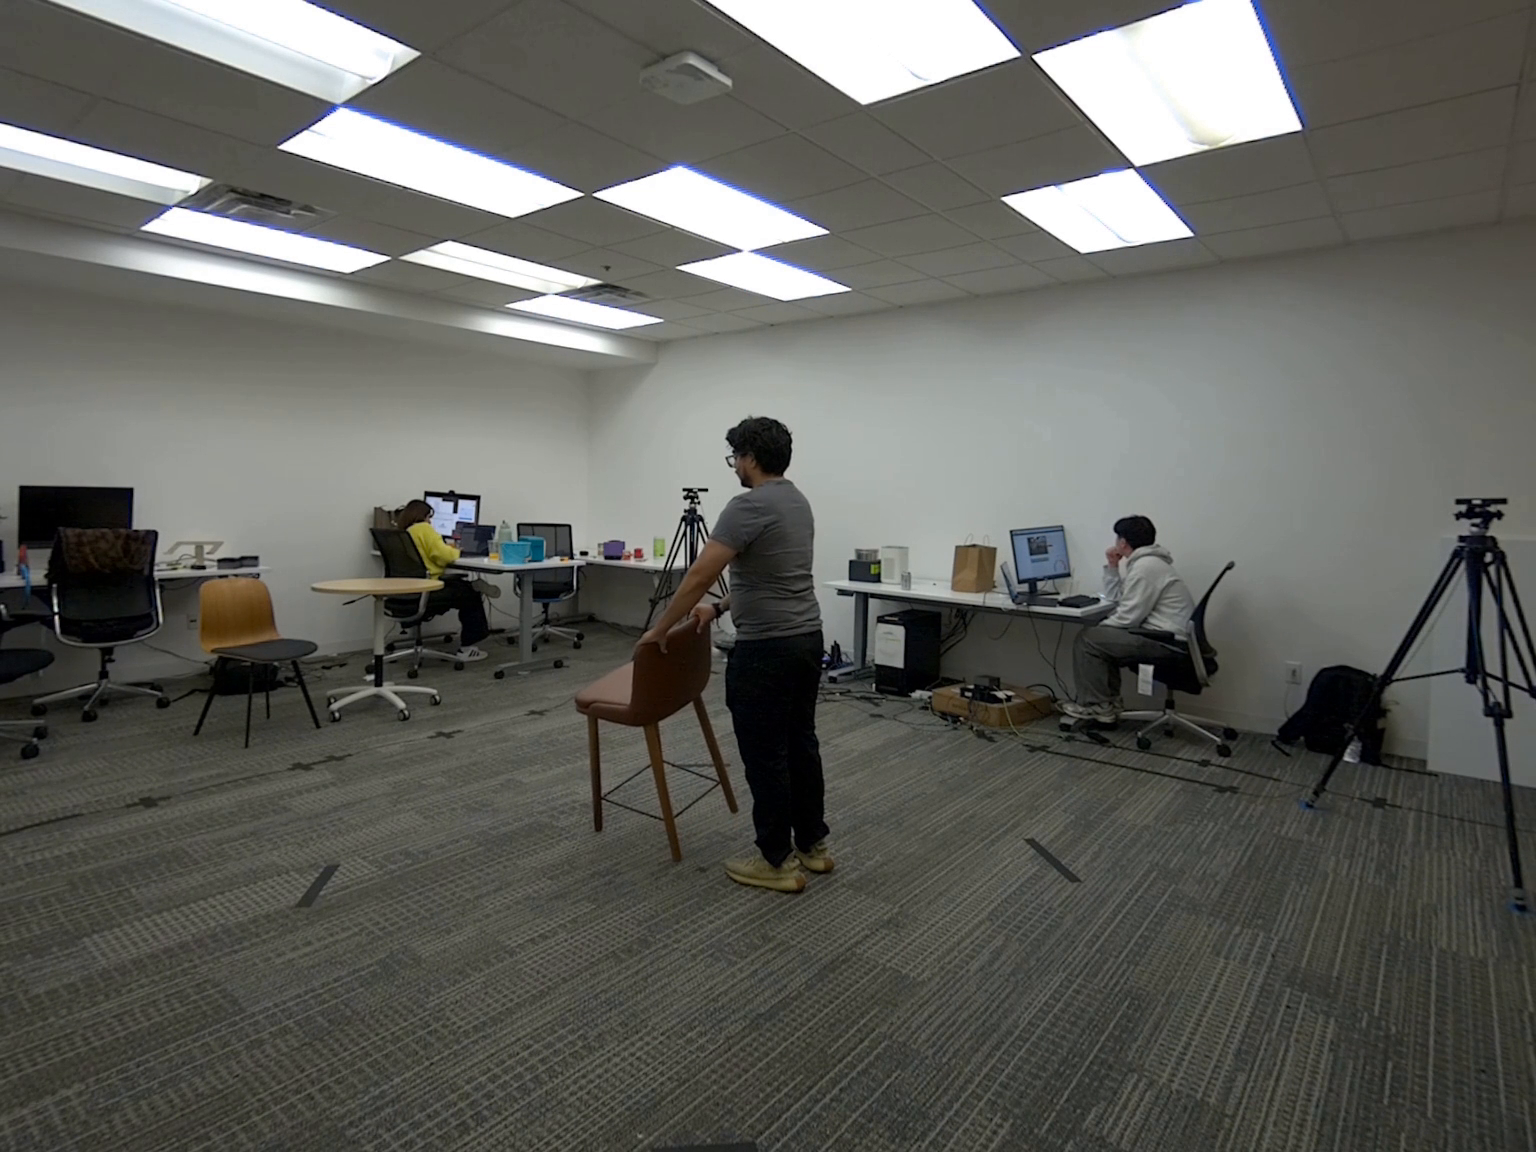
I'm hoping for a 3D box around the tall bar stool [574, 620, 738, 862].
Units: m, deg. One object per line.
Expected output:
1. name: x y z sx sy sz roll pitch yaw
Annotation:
1. tall bar stool: -0.462 0.576 3.340 0.484 0.876 0.448 7 19 38
